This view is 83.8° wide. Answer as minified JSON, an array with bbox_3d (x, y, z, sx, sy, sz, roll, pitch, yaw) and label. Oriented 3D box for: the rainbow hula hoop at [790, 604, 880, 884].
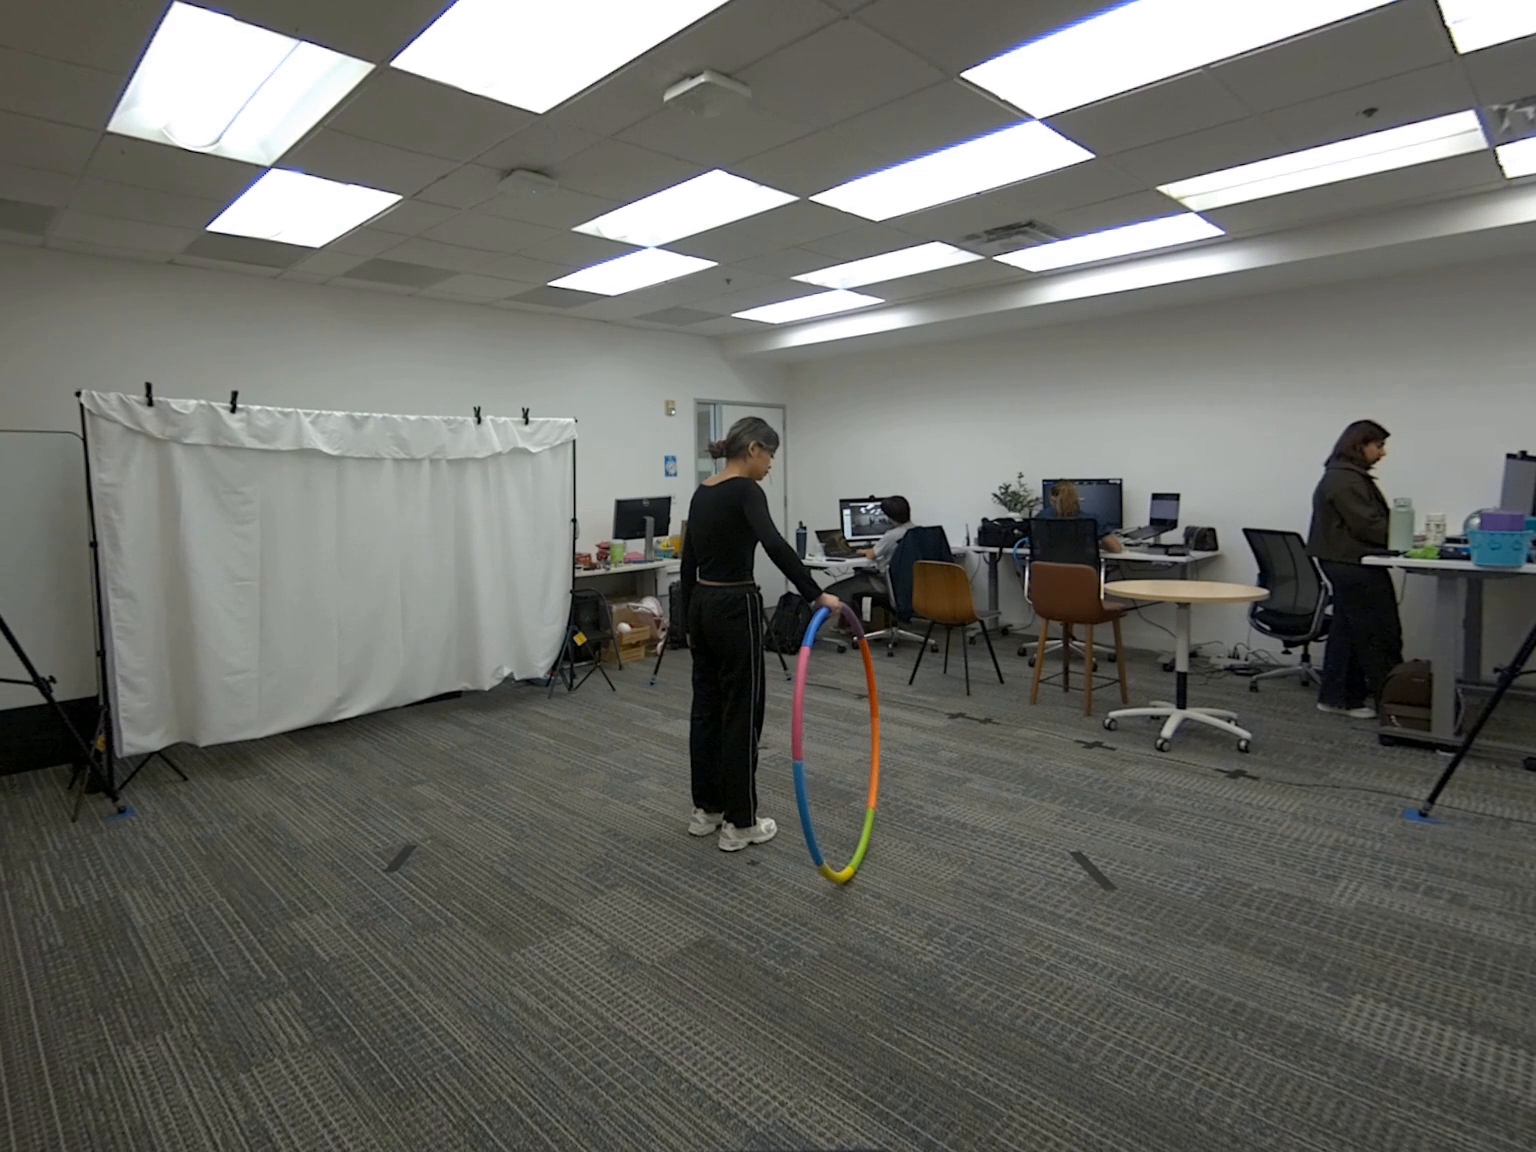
[{"bbox_3d":[0.259,0.567,3.032,0.036,0.977,0.963,-5,3,20],"label":"rainbow hula hoop"}]
